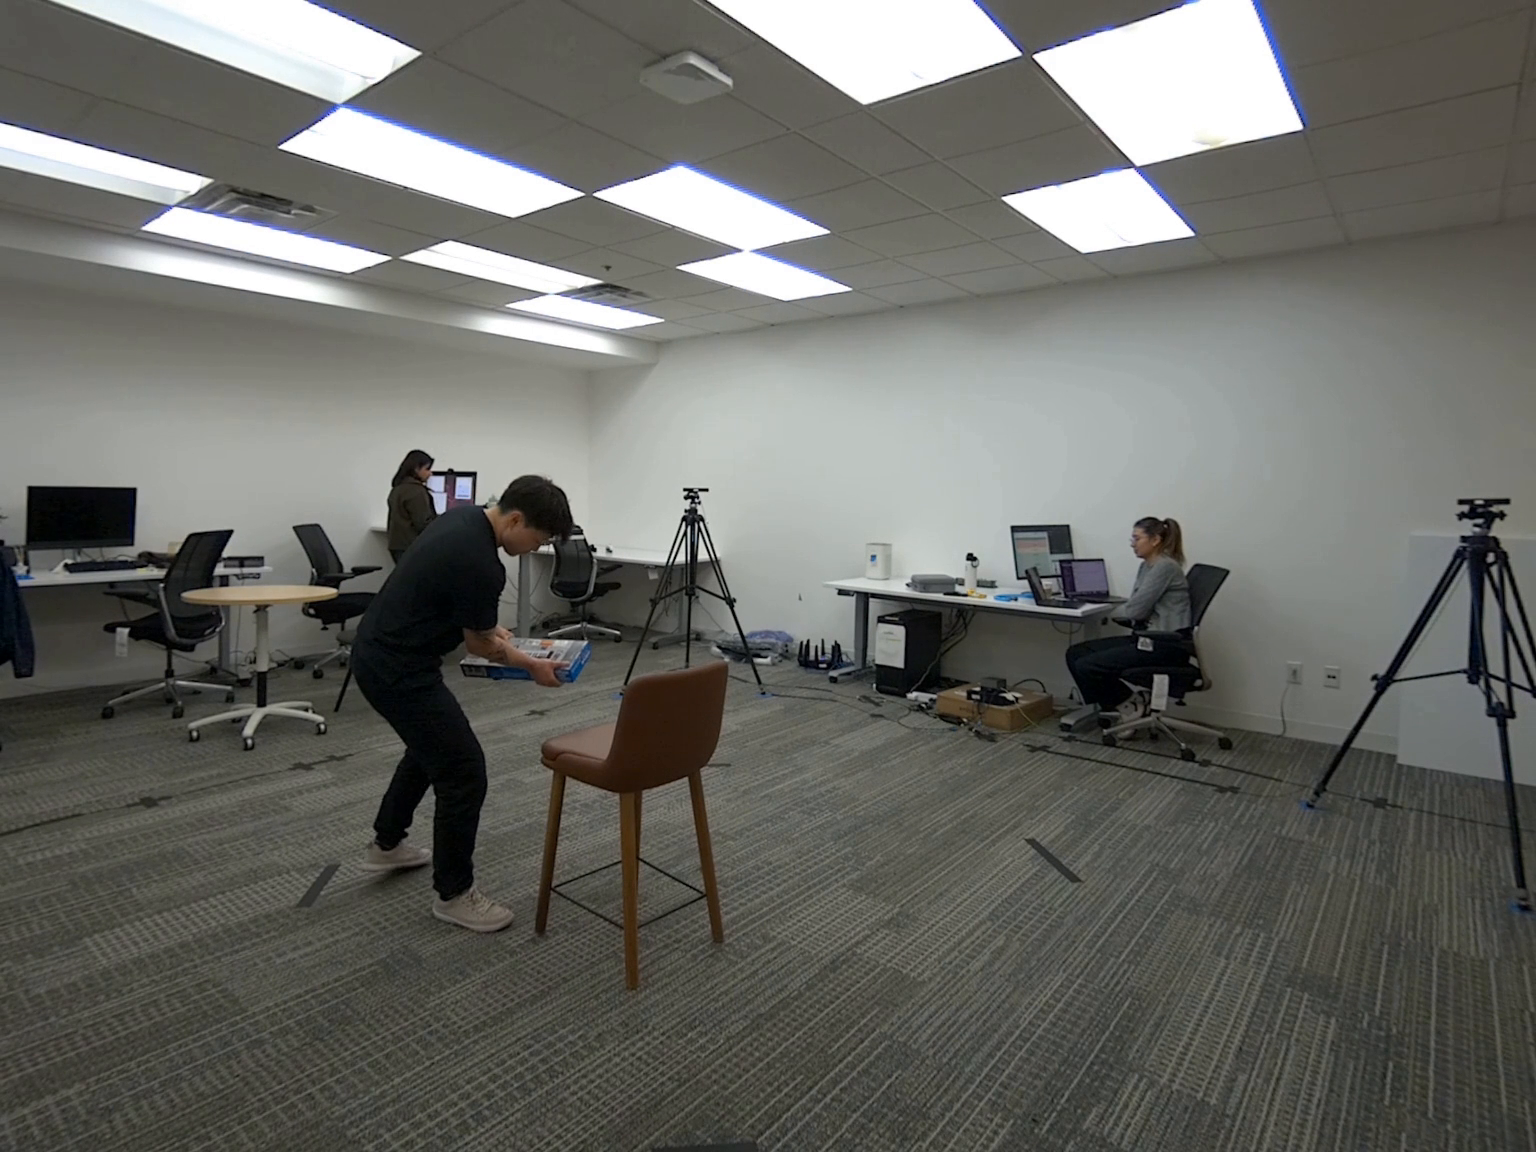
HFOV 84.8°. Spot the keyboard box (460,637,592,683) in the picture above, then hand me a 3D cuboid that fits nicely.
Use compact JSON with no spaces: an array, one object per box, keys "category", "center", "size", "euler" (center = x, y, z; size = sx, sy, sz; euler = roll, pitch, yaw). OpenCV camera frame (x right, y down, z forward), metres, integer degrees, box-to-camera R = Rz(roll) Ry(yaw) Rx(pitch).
[{"category":"keyboard box","center":[-0.879,0.302,3.059],"size":[0.444,0.057,0.178],"euler":[-1,30,16]}]
